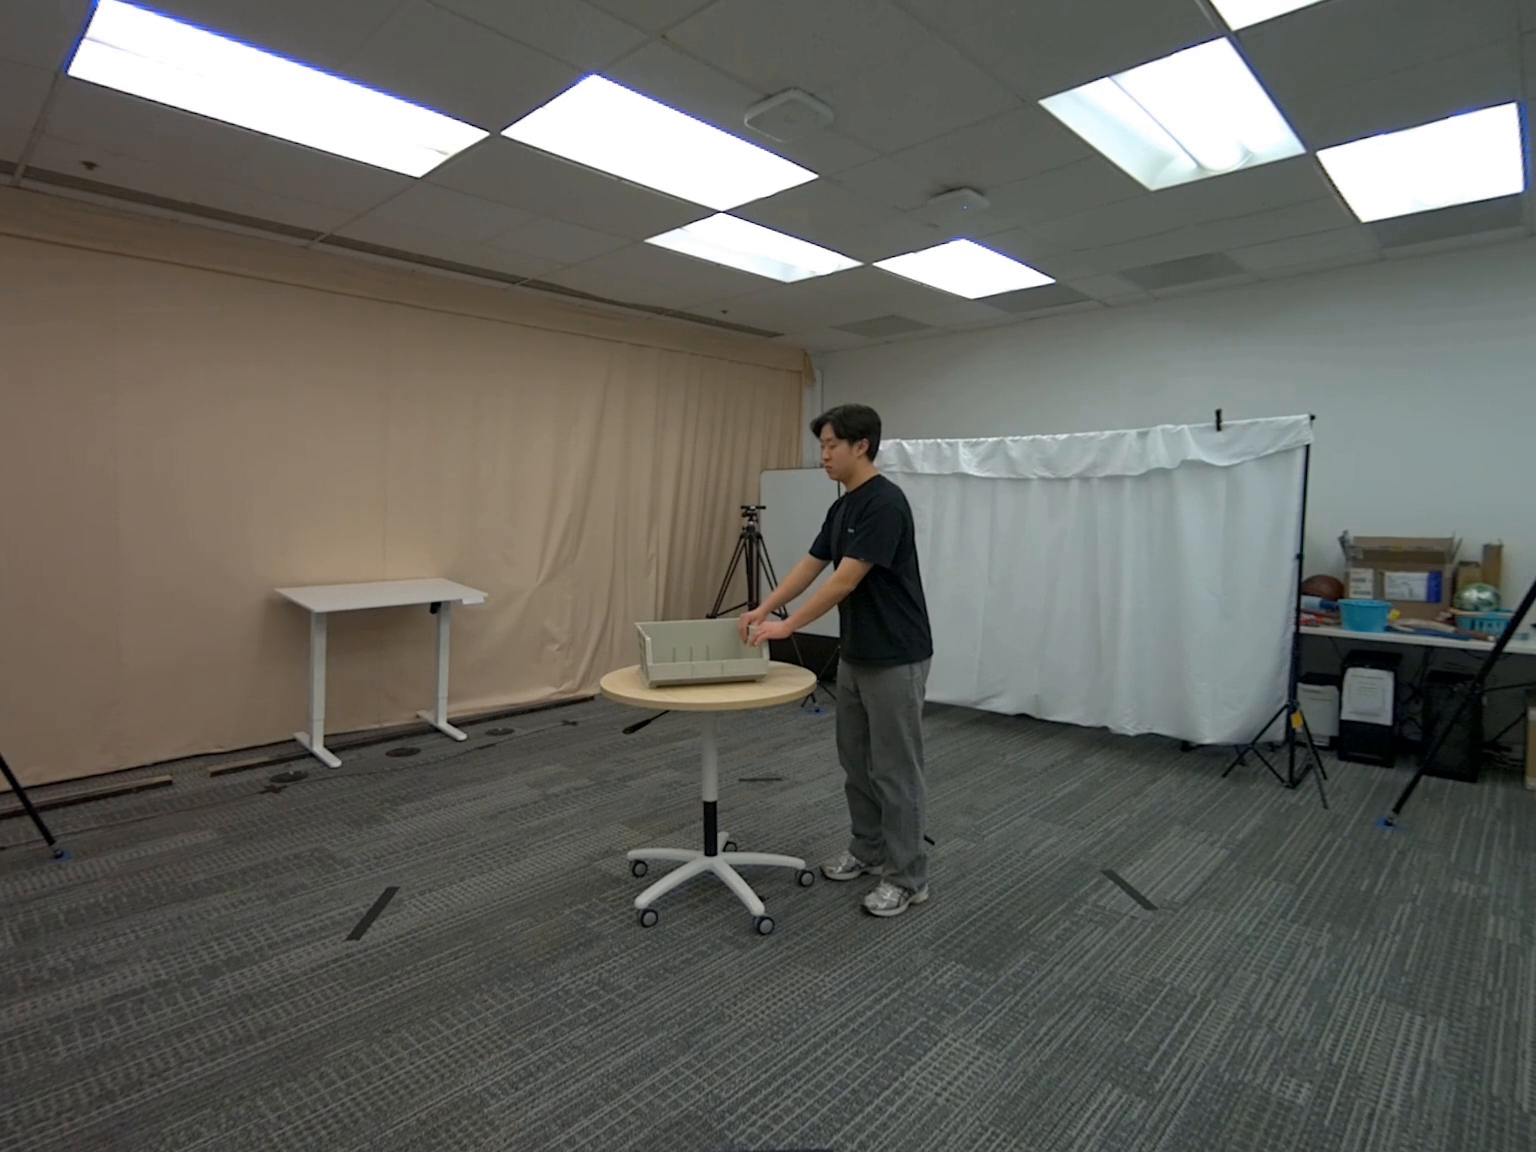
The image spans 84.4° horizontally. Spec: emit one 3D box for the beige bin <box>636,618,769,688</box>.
[{"bbox_3d":[-0.240,0.272,2.999,0.417,0.188,0.383,-3,4,-13],"label":"beige bin"}]
